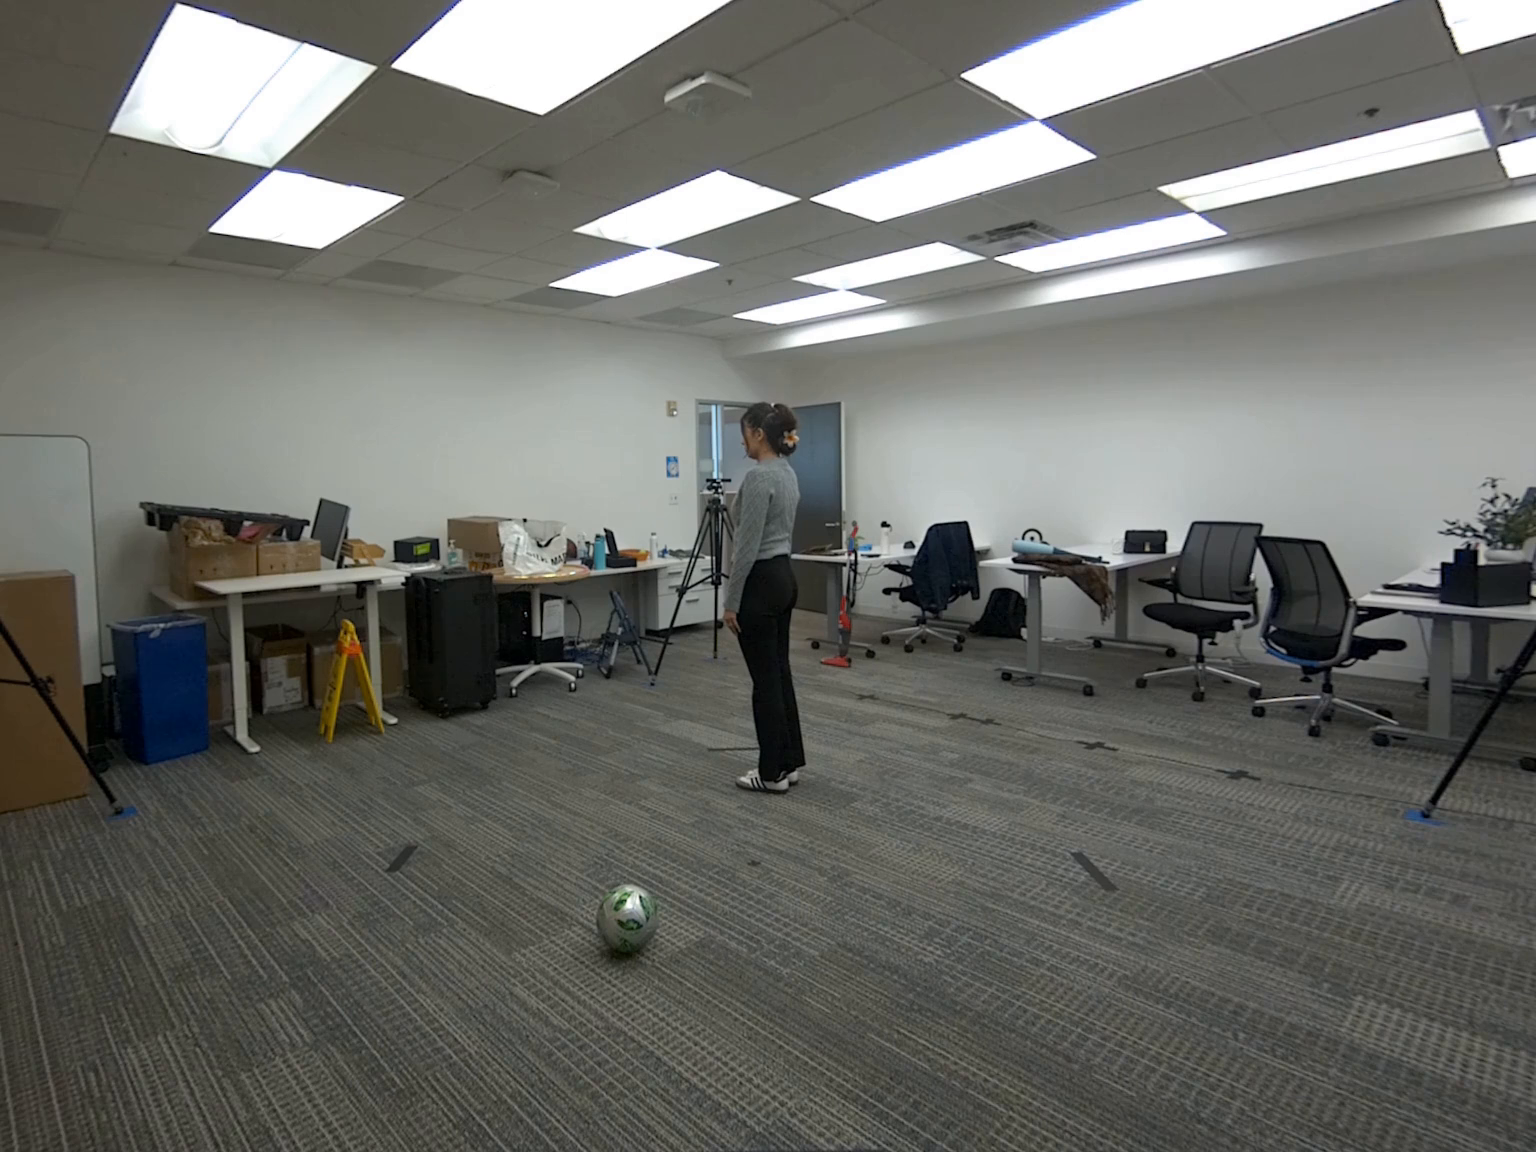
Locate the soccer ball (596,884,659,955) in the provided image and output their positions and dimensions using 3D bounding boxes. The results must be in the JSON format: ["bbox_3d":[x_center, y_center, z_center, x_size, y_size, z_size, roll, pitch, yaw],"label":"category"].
[{"bbox_3d":[-0.413,1.023,2.554,0.187,0.187,0.188,-1,5,-2],"label":"soccer ball"}]
